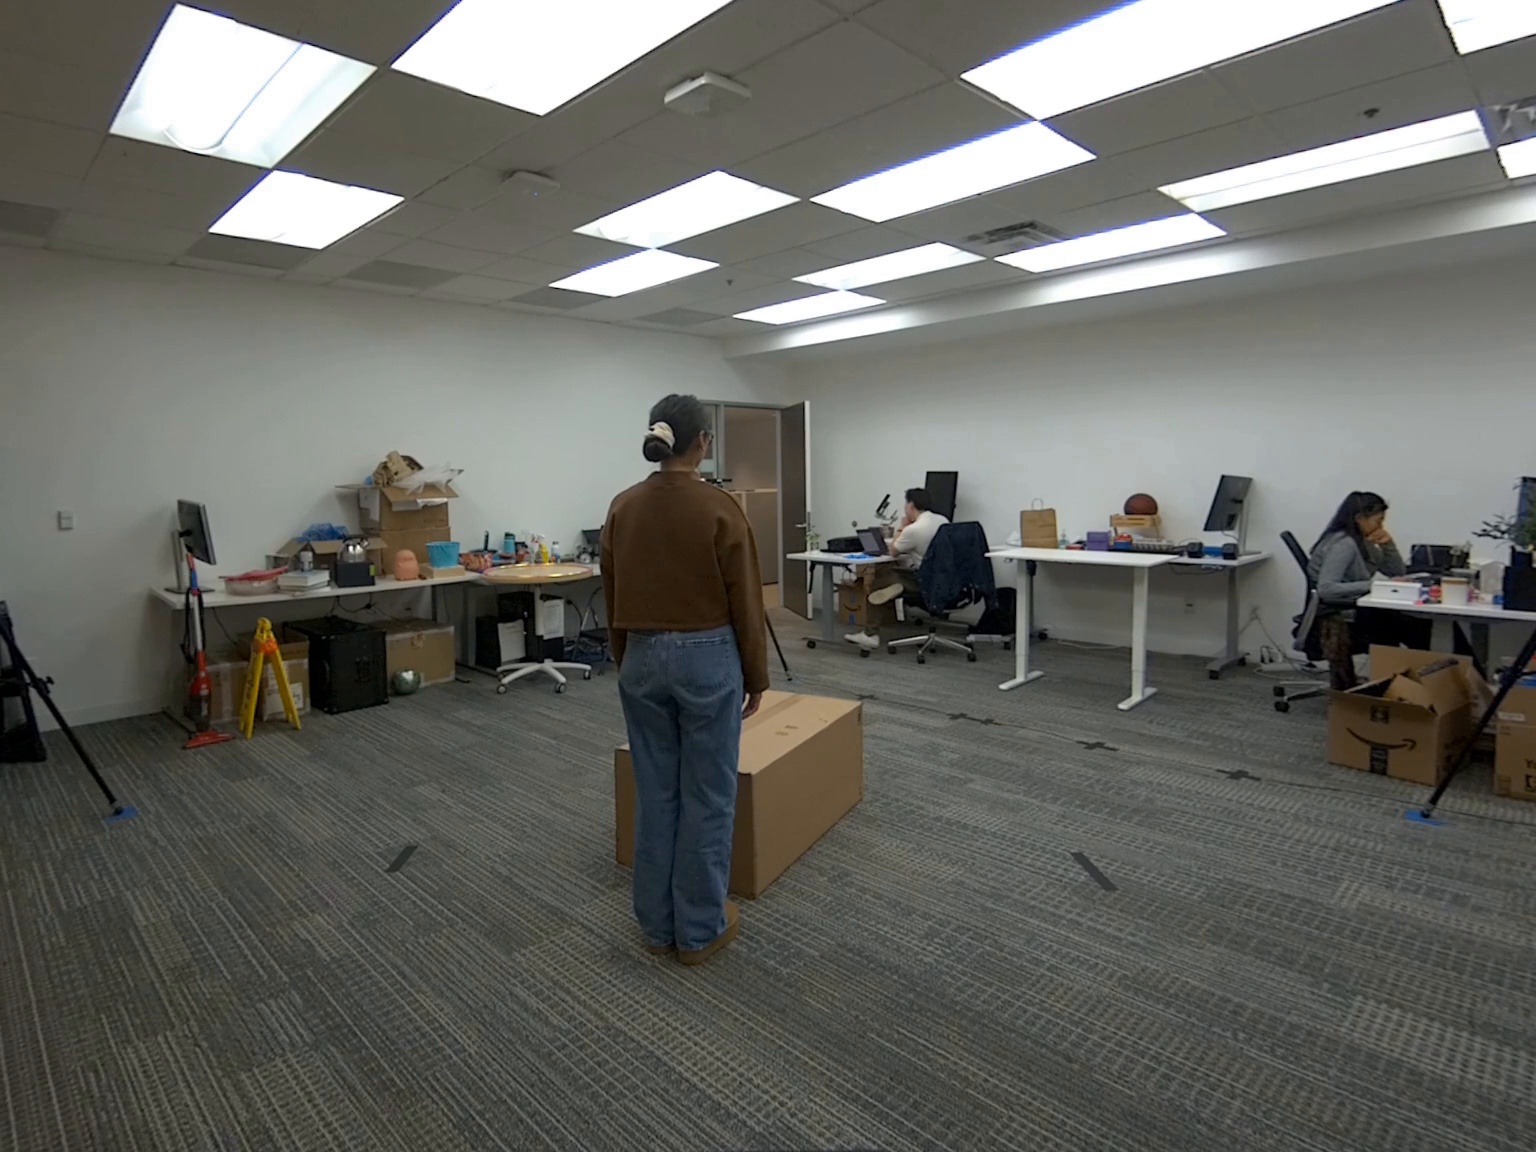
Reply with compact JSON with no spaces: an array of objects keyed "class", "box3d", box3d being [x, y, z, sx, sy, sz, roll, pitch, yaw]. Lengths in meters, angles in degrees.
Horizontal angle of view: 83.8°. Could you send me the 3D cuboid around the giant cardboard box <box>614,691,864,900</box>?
[{"class":"giant cardboard box","box3d":[-0.071,0.798,3.408,0.598,0.445,1.005,1,6,28]}]
